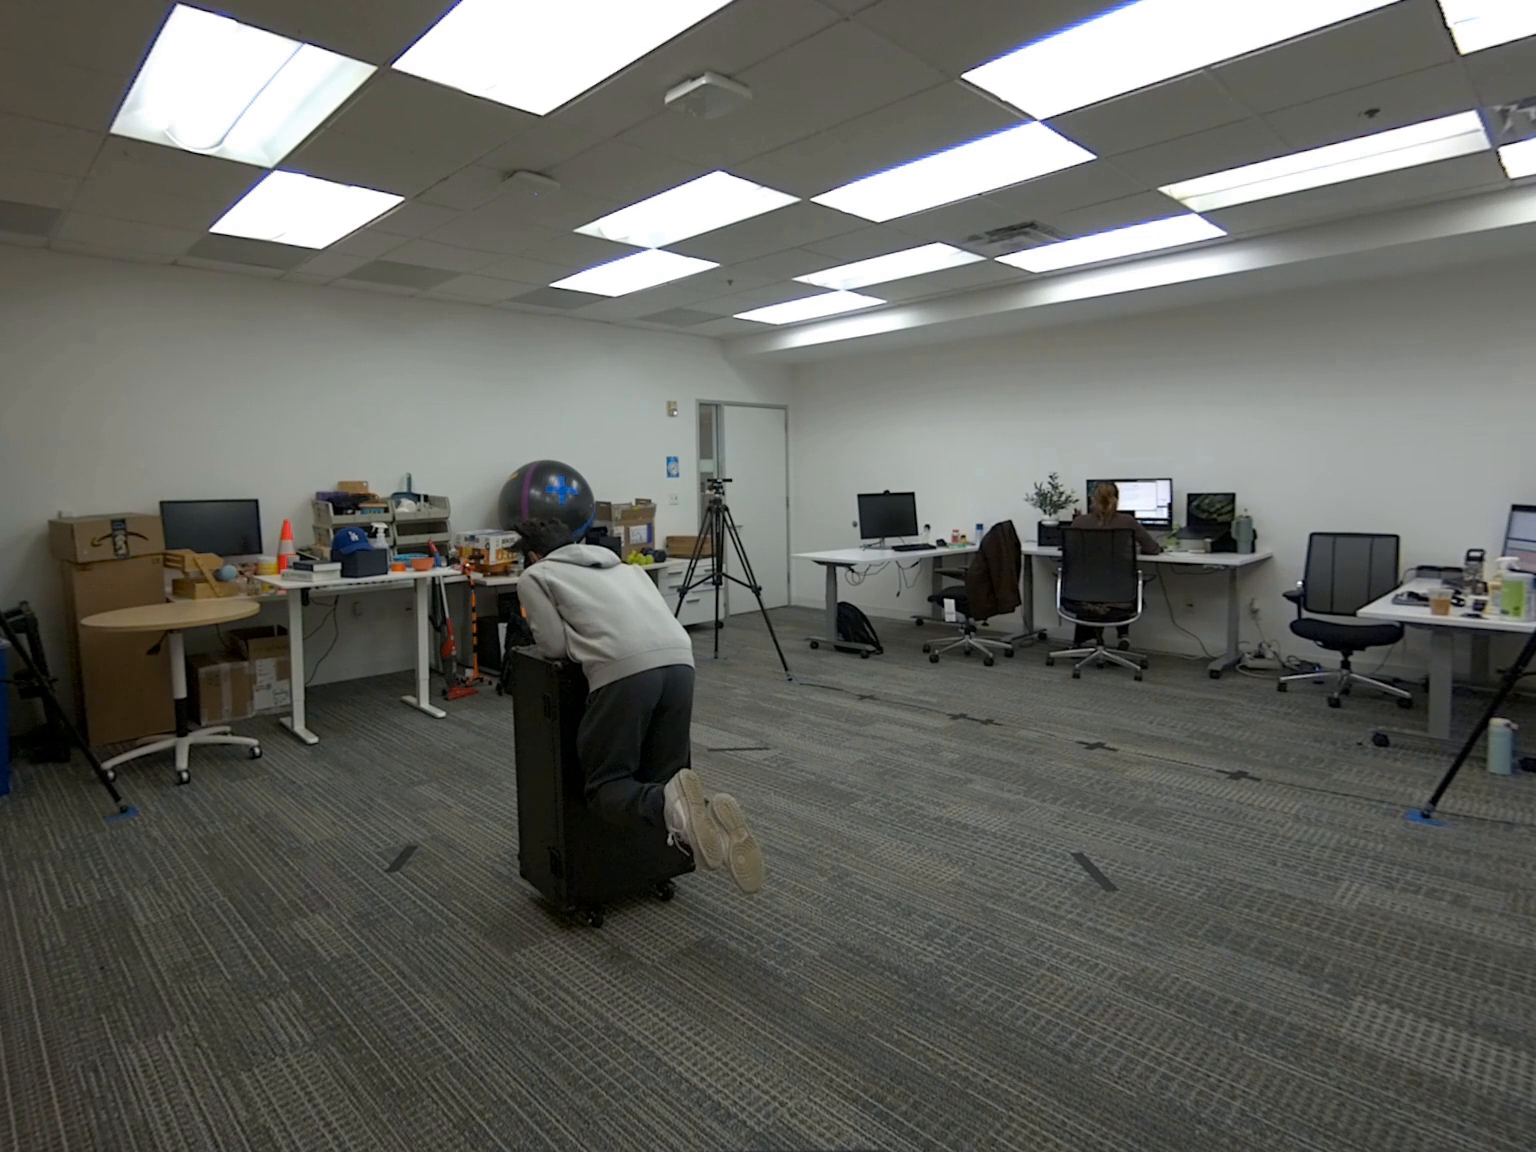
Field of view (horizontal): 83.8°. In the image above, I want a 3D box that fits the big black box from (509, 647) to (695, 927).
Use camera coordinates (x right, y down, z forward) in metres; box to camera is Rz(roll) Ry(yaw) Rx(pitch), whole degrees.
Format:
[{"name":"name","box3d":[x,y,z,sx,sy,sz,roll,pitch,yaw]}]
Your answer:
[{"name":"big black box","box3d":[-0.563,0.664,2.878,0.508,0.859,0.408,-5,4,-38]}]
